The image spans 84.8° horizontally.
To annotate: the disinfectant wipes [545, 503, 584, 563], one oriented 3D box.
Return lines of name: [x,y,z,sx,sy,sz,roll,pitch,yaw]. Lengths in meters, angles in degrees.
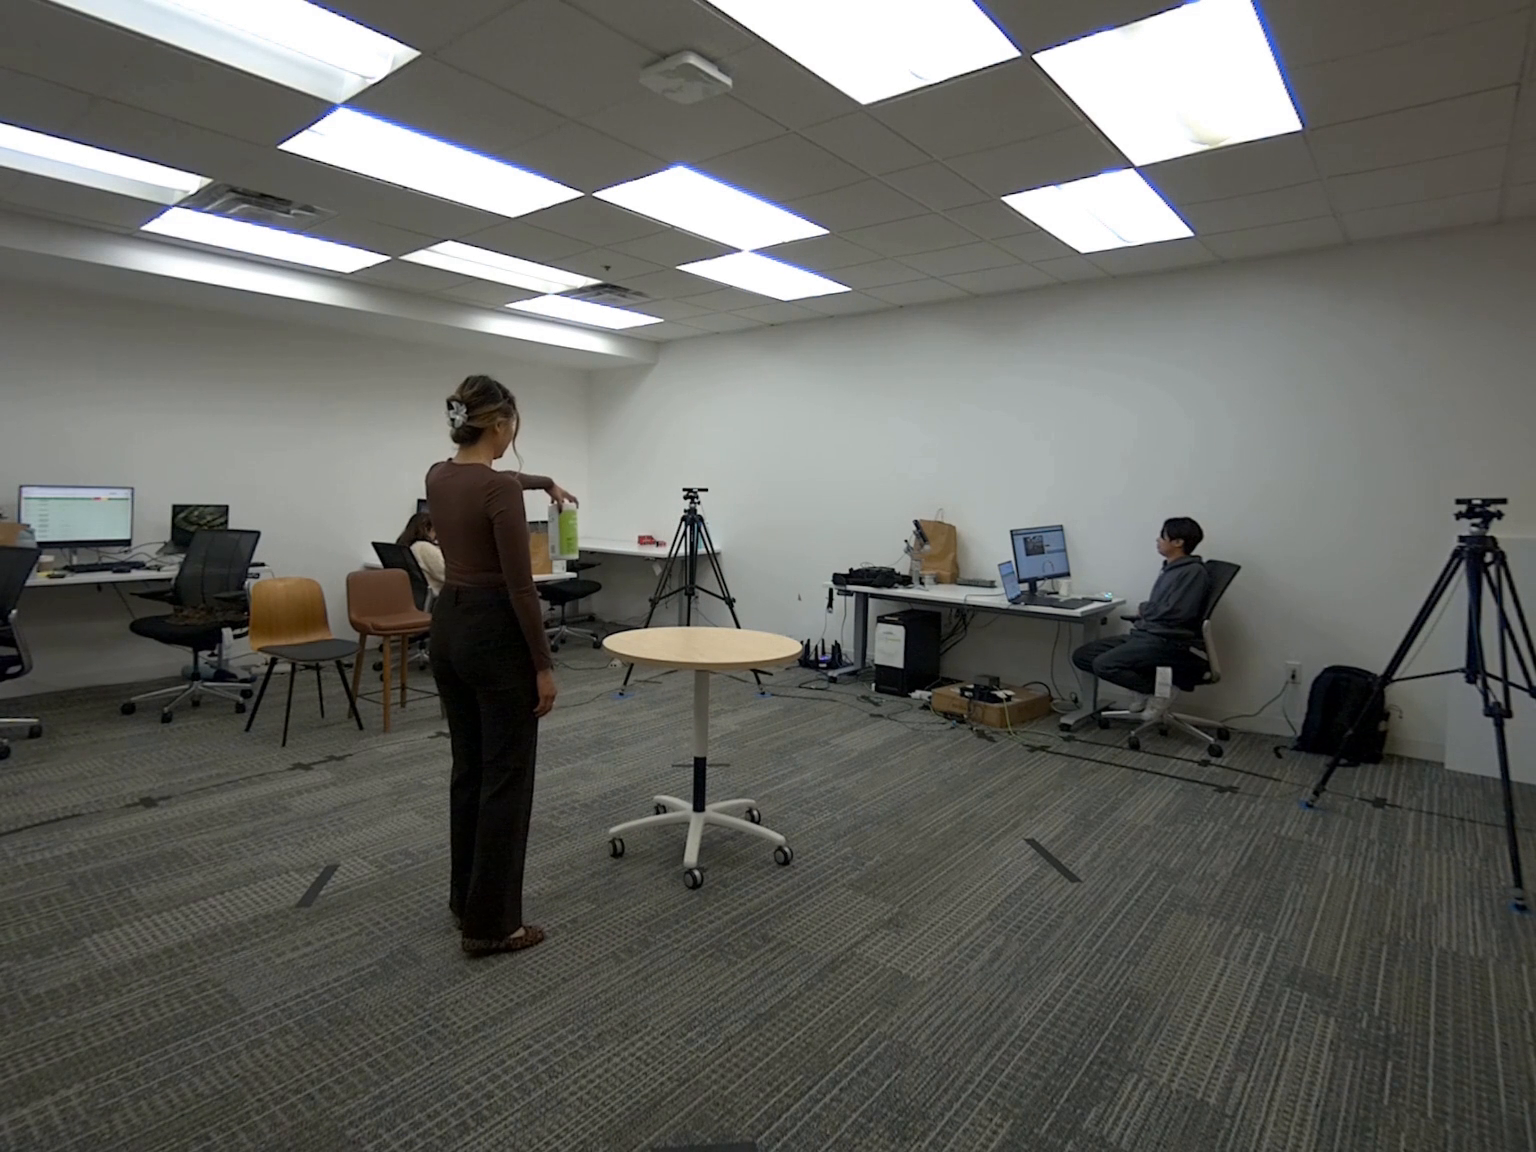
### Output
disinfectant wipes: [-0.784,-0.169,3.234,0.118,0.217,0.118,-2,0,-2]
